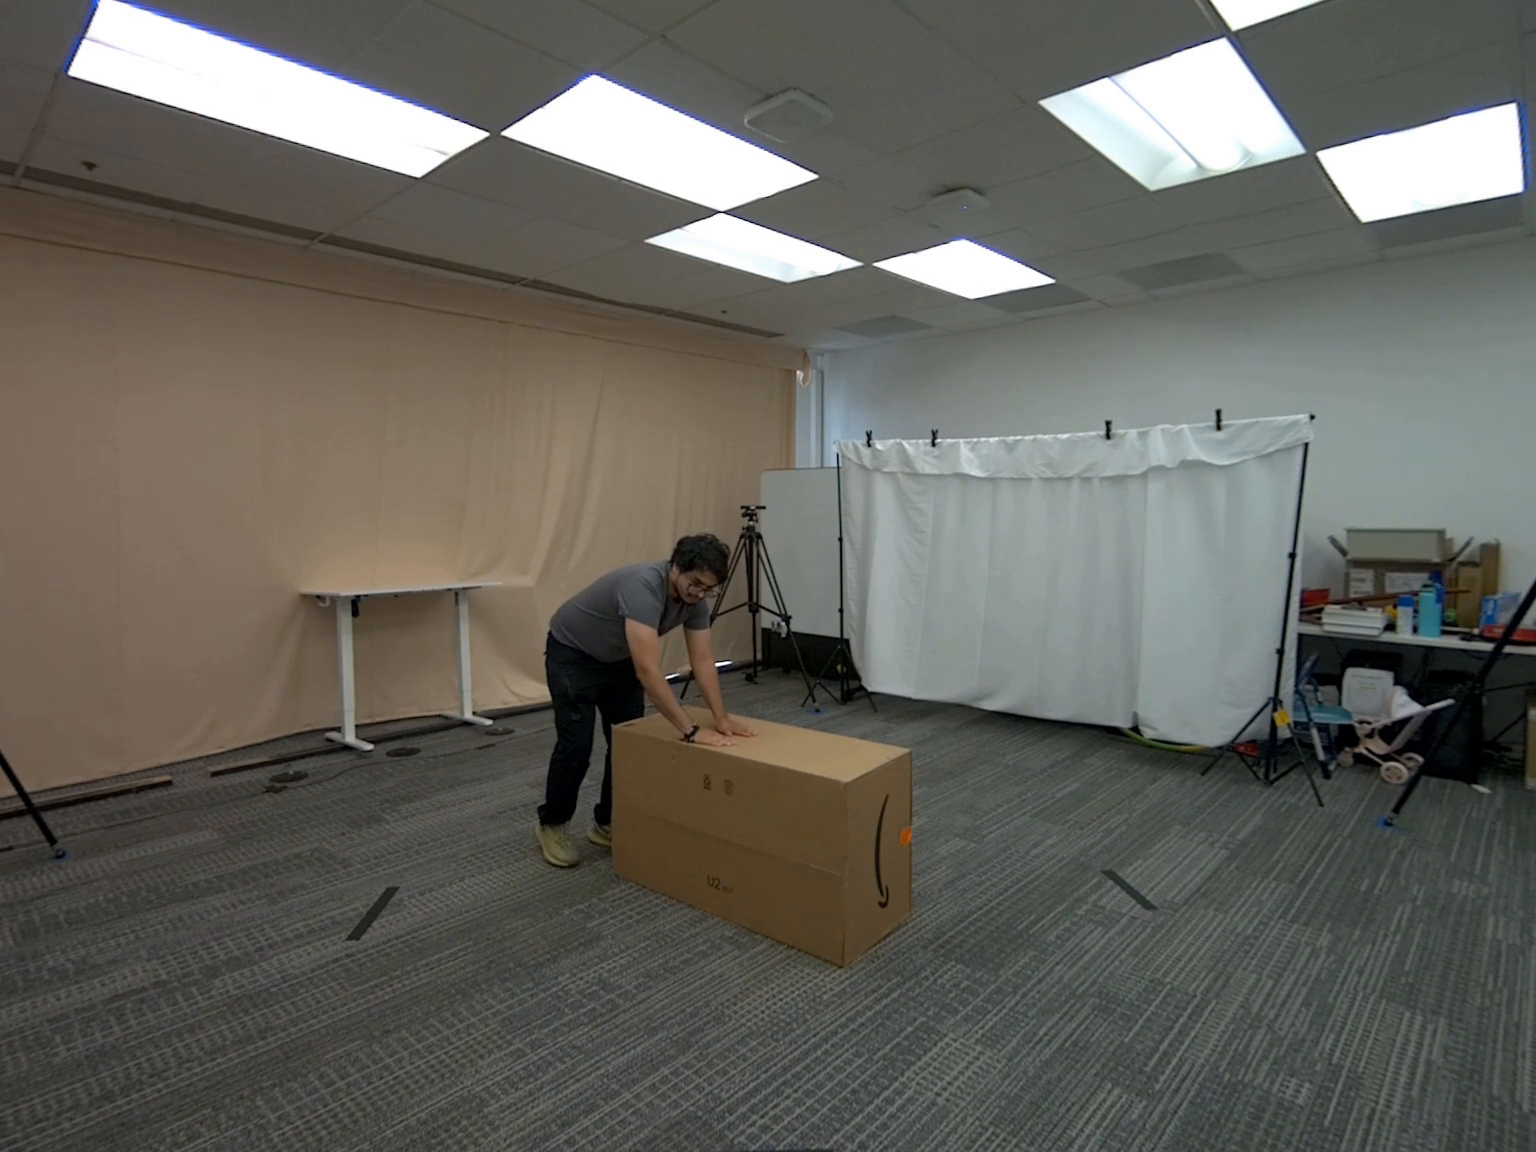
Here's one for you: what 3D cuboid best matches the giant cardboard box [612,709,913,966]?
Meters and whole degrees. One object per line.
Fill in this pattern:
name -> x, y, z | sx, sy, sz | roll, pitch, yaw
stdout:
giant cardboard box -> -0.042, 0.855, 3.001 | 1.059, 0.576, 0.413 | 3, 4, 39
